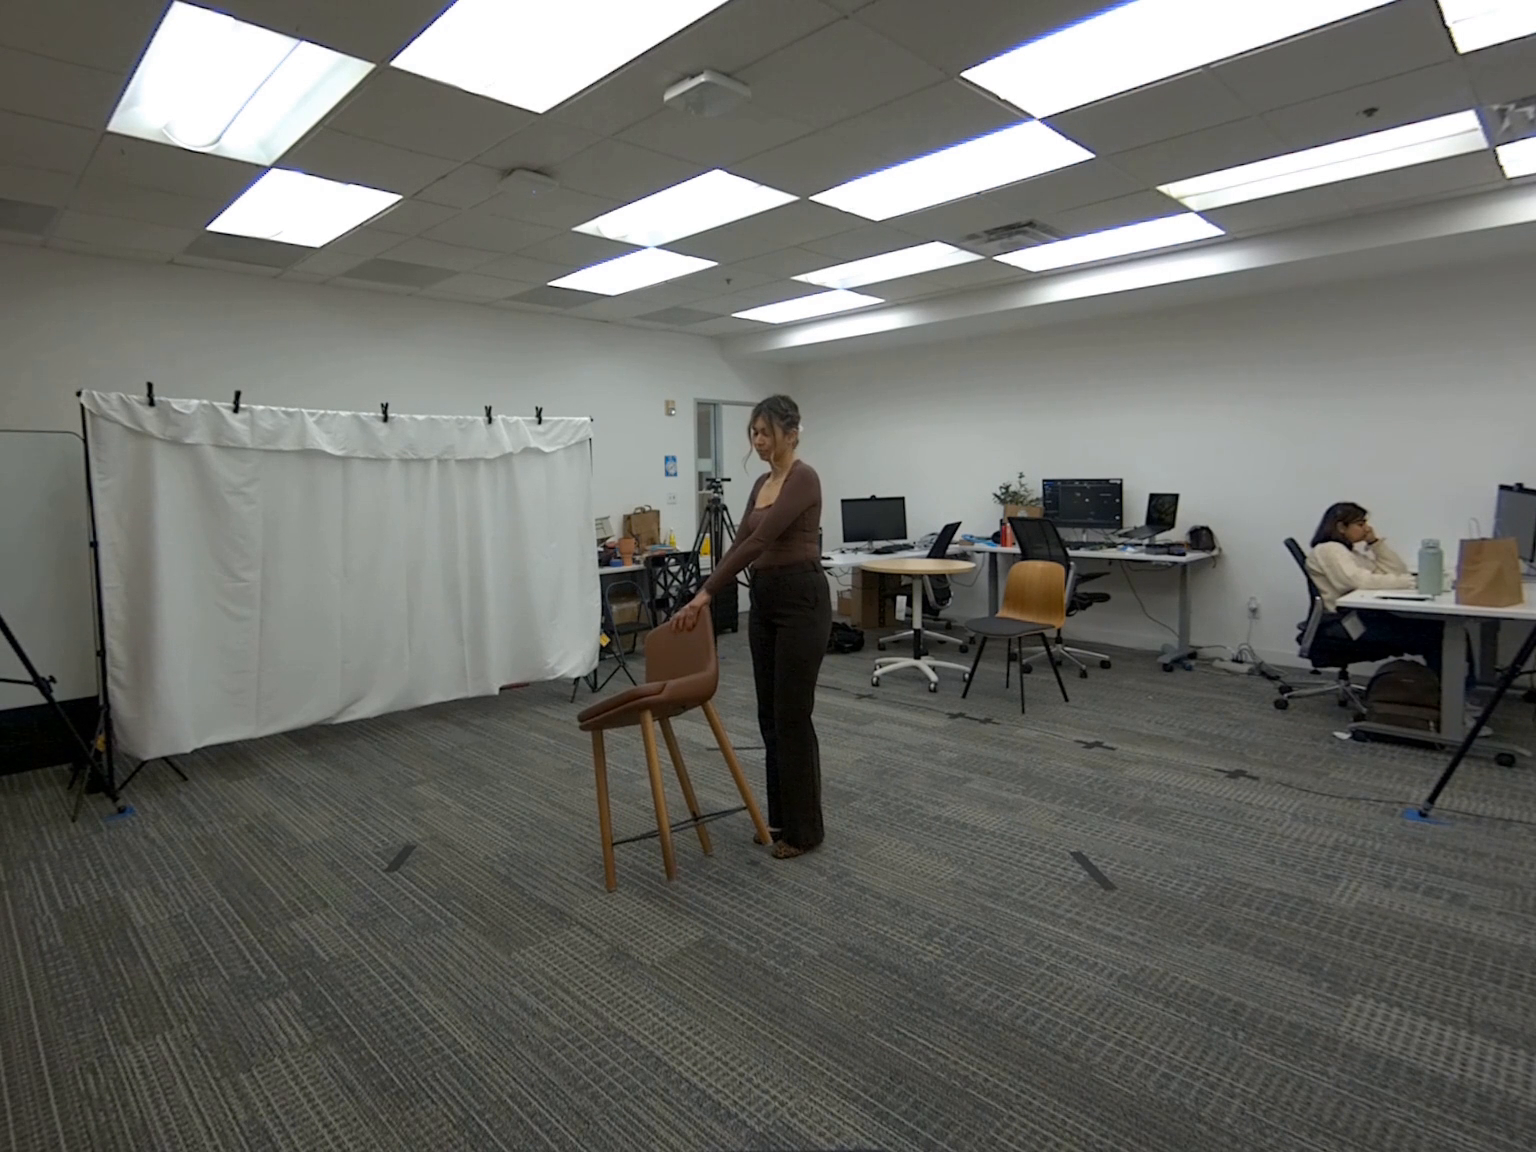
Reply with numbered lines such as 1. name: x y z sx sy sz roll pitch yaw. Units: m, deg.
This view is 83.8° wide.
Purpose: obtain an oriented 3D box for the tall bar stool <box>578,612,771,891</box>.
1. tall bar stool: -0.372 0.581 3.026 0.454 0.905 0.462 -1 -20 -41
